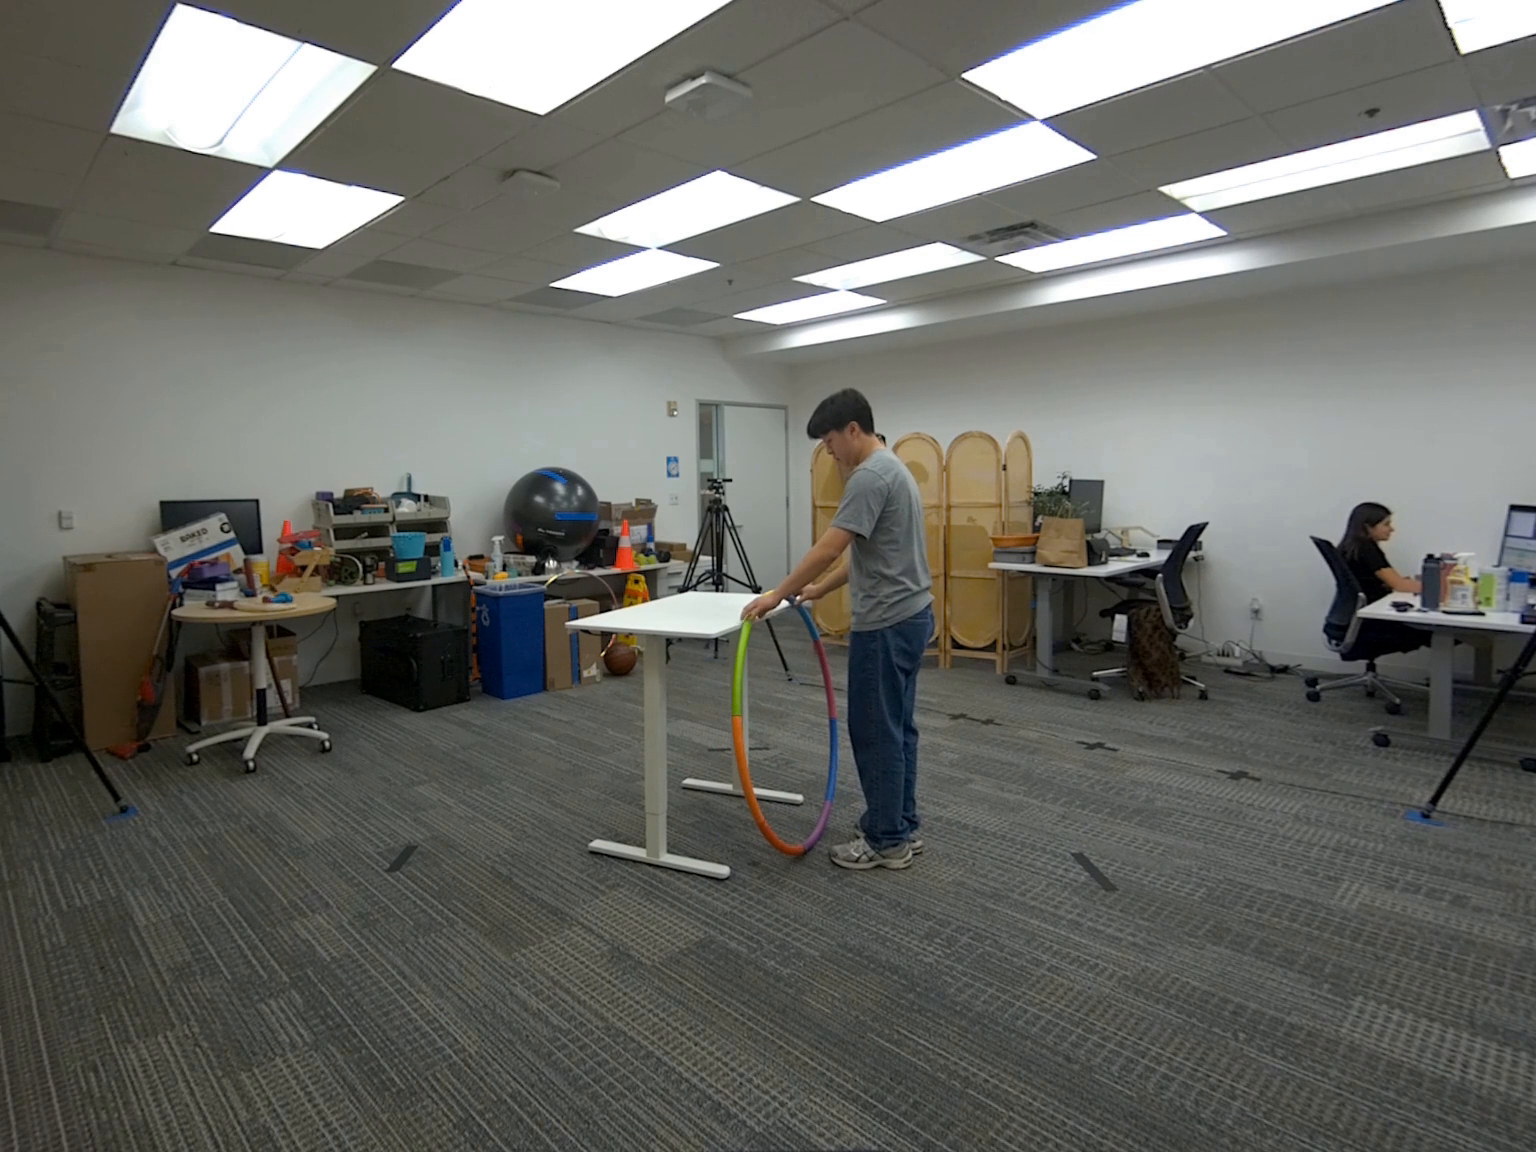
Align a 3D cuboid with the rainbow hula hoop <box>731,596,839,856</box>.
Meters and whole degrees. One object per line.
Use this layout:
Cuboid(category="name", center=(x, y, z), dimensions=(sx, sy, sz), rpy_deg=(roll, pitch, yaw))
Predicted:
Cuboid(category="rainbow hula hoop", center=(0.088, 0.542, 3.264), dimensions=(0.036, 0.979, 0.962), rpy_deg=(-10, 1, 22))
